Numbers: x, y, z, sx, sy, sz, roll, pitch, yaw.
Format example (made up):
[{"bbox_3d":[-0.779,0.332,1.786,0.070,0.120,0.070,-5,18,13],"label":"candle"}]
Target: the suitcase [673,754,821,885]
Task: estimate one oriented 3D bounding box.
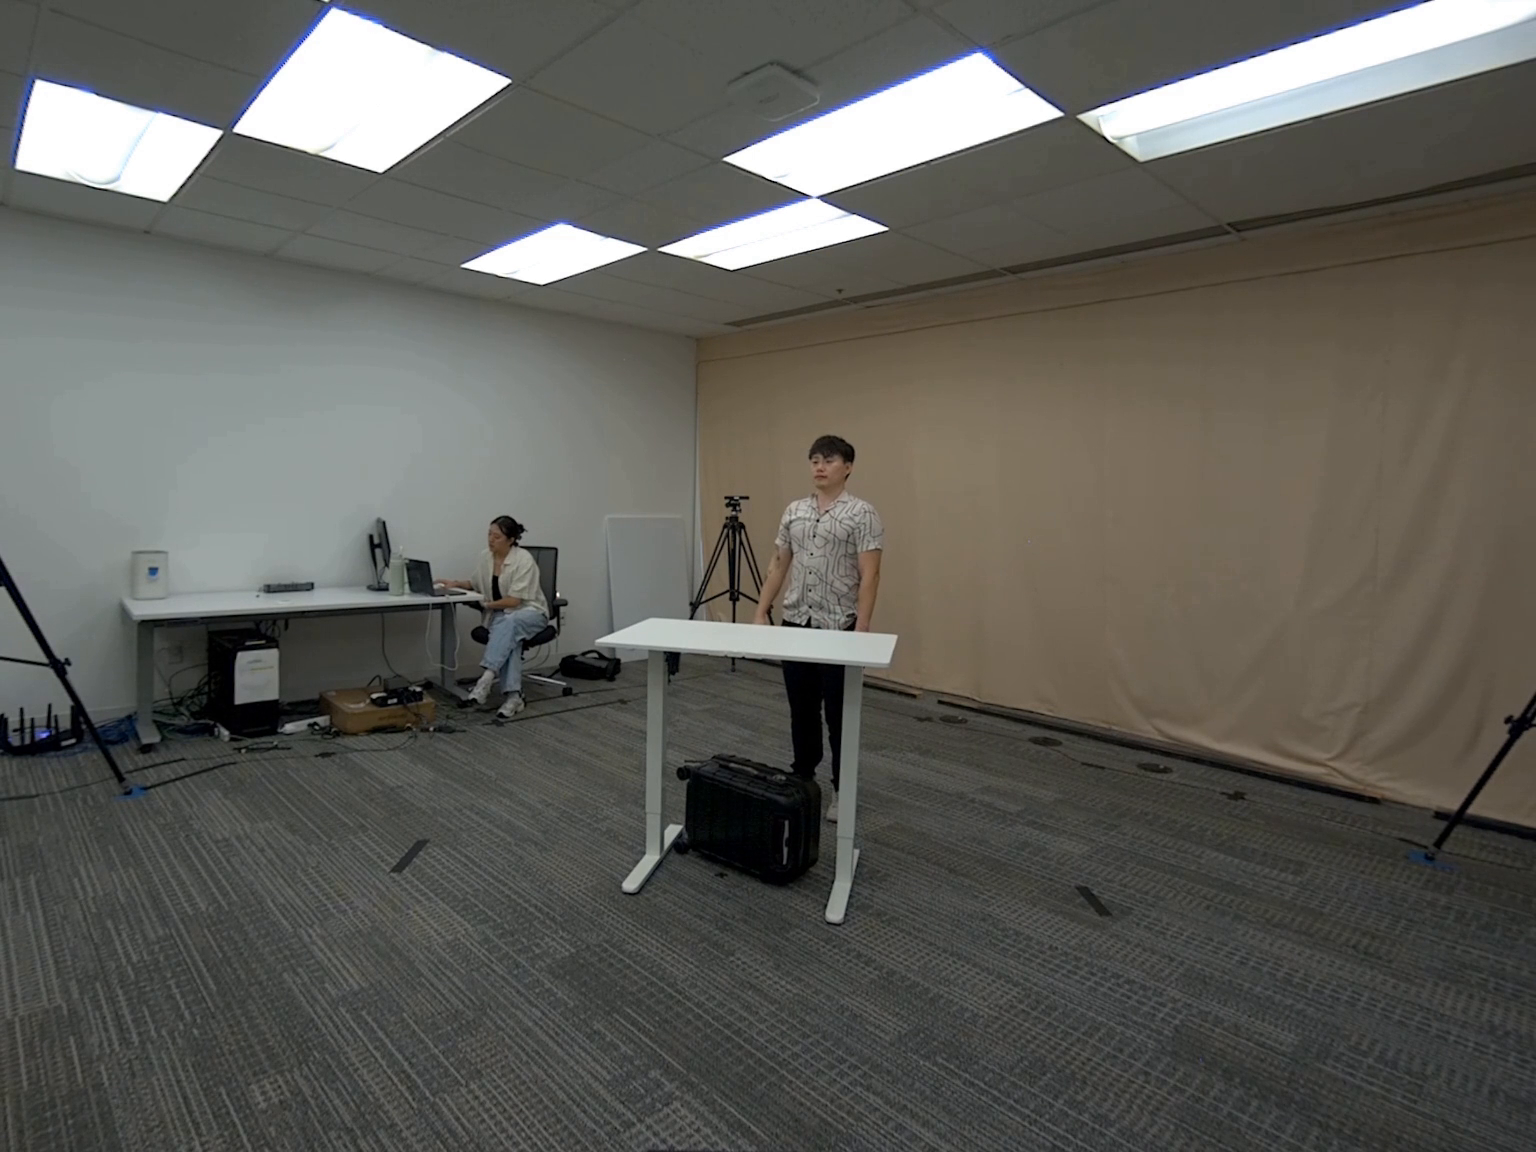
[{"bbox_3d":[-0.075,0.898,3.195,0.563,0.374,0.243,4,5,39],"label":"suitcase"}]
